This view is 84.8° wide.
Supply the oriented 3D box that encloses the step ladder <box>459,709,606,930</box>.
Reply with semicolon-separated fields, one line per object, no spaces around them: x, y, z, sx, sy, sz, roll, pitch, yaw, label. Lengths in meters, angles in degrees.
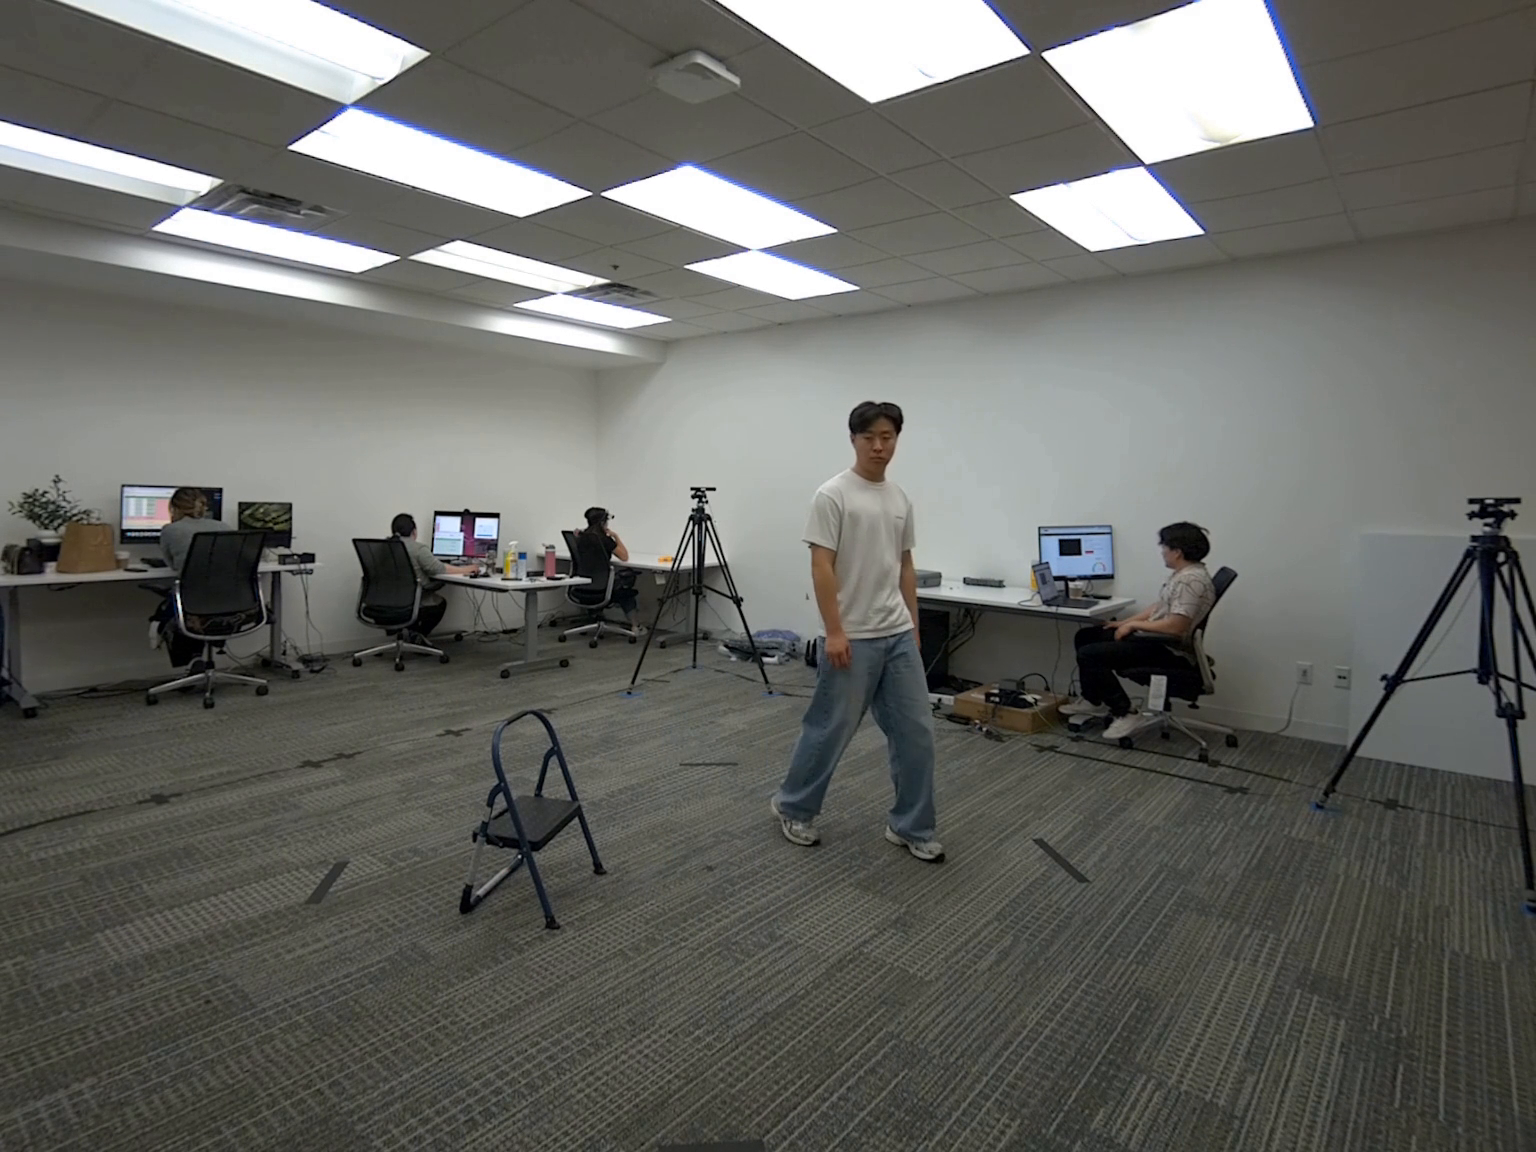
-0.797;0.775;2.886;0.354;0.604;0.426;2;4;12;step ladder
